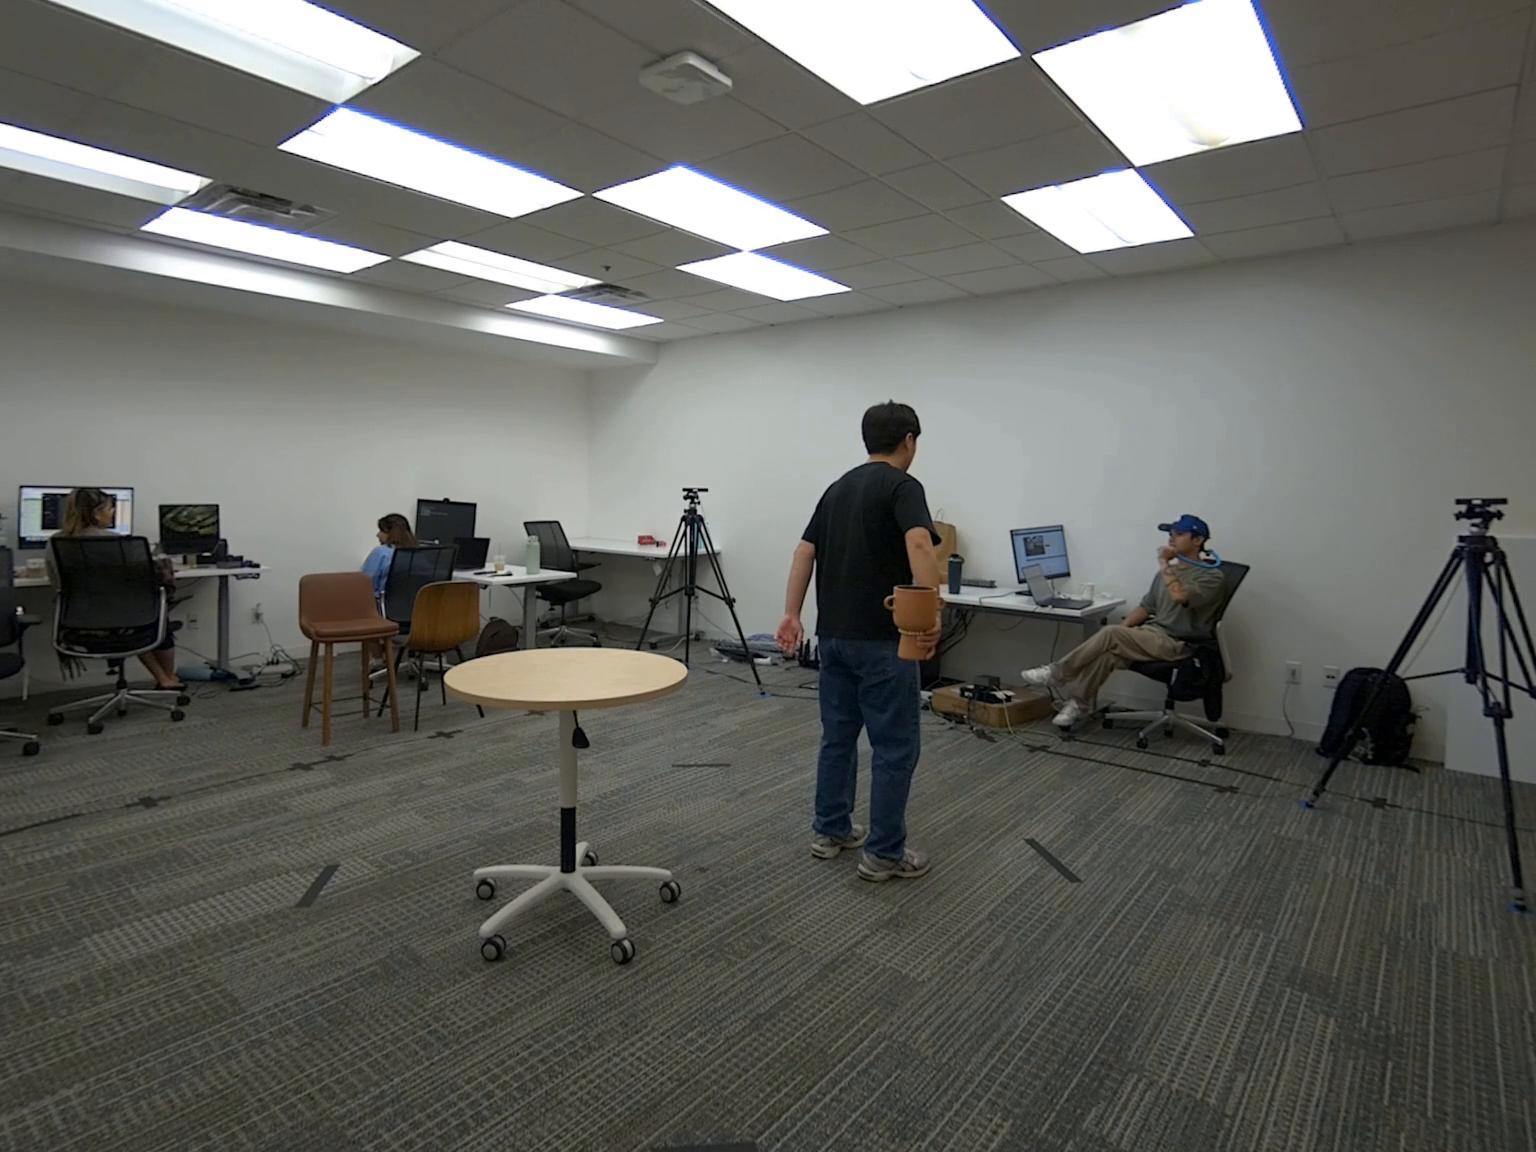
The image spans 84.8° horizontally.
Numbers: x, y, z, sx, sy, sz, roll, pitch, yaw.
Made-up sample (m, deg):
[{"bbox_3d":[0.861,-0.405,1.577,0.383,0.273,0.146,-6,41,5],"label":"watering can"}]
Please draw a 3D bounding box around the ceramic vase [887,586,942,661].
[{"bbox_3d":[0.464,0.141,2.704,0.163,0.219,0.131,3,4,30],"label":"ceramic vase"}]
